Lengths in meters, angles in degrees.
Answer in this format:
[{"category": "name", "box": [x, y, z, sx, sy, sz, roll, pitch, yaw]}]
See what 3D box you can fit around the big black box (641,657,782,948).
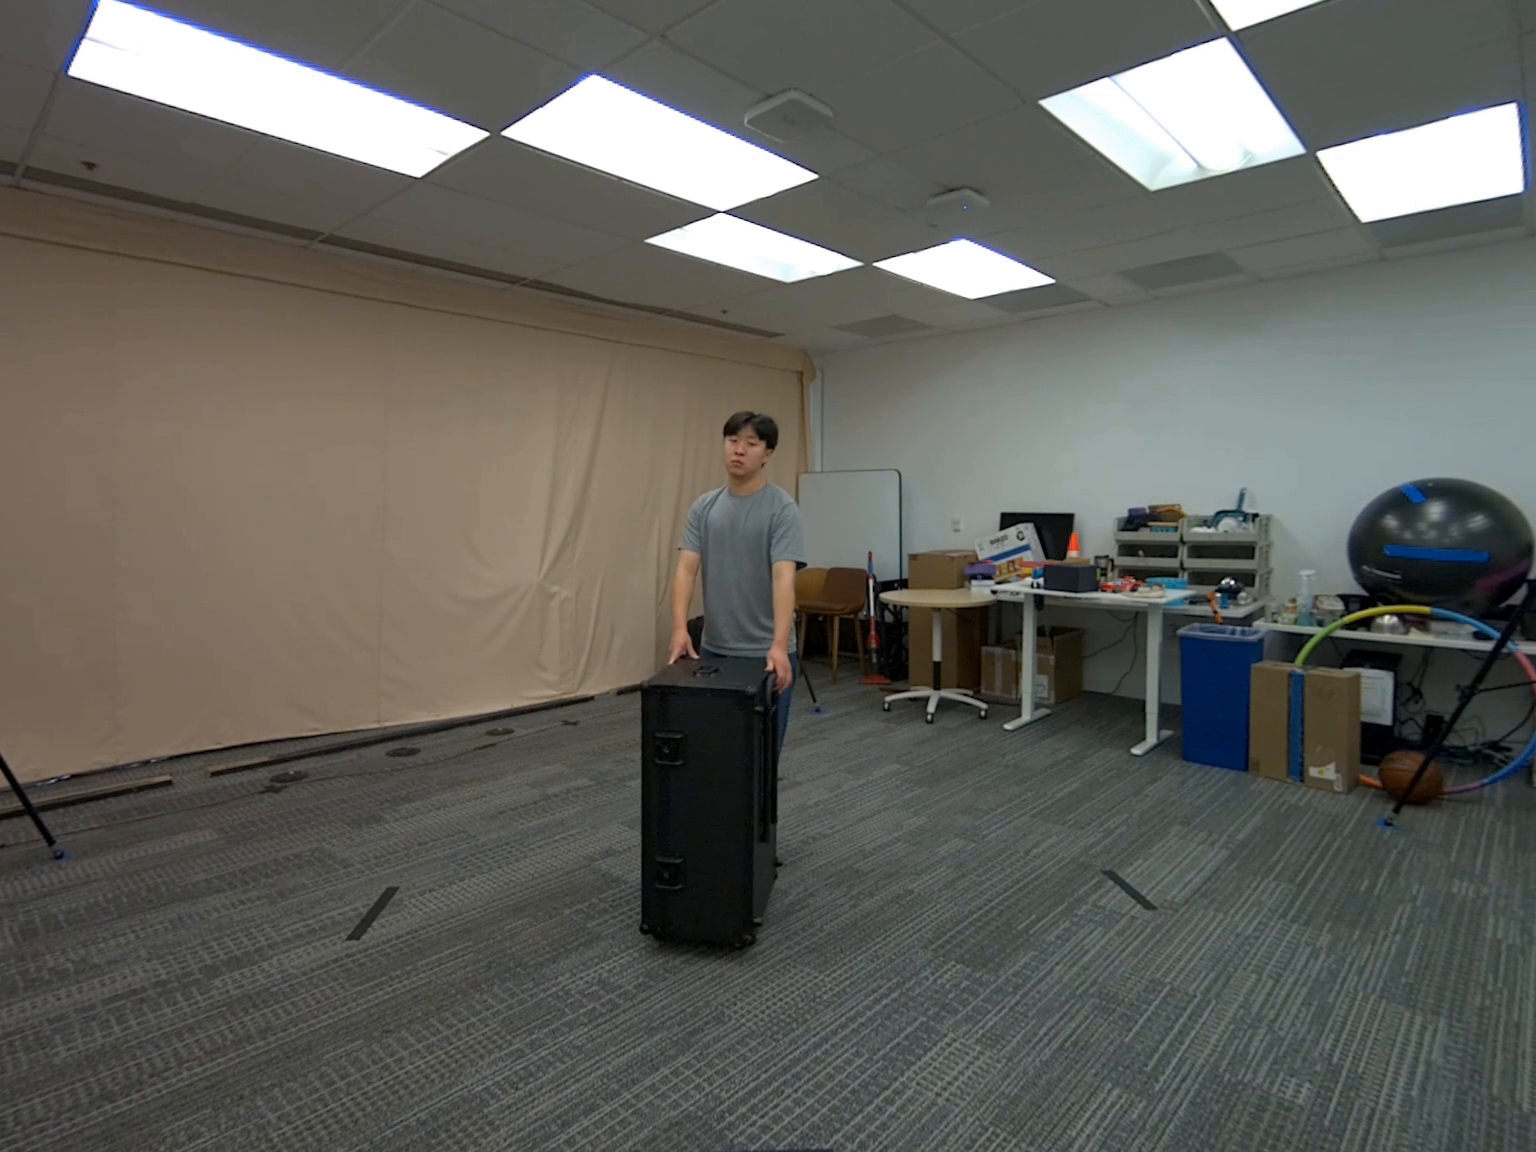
[{"category": "big black box", "box": [-0.168, 0.737, 2.783, 0.402, 0.859, 0.515, 2, 4, 11]}]
